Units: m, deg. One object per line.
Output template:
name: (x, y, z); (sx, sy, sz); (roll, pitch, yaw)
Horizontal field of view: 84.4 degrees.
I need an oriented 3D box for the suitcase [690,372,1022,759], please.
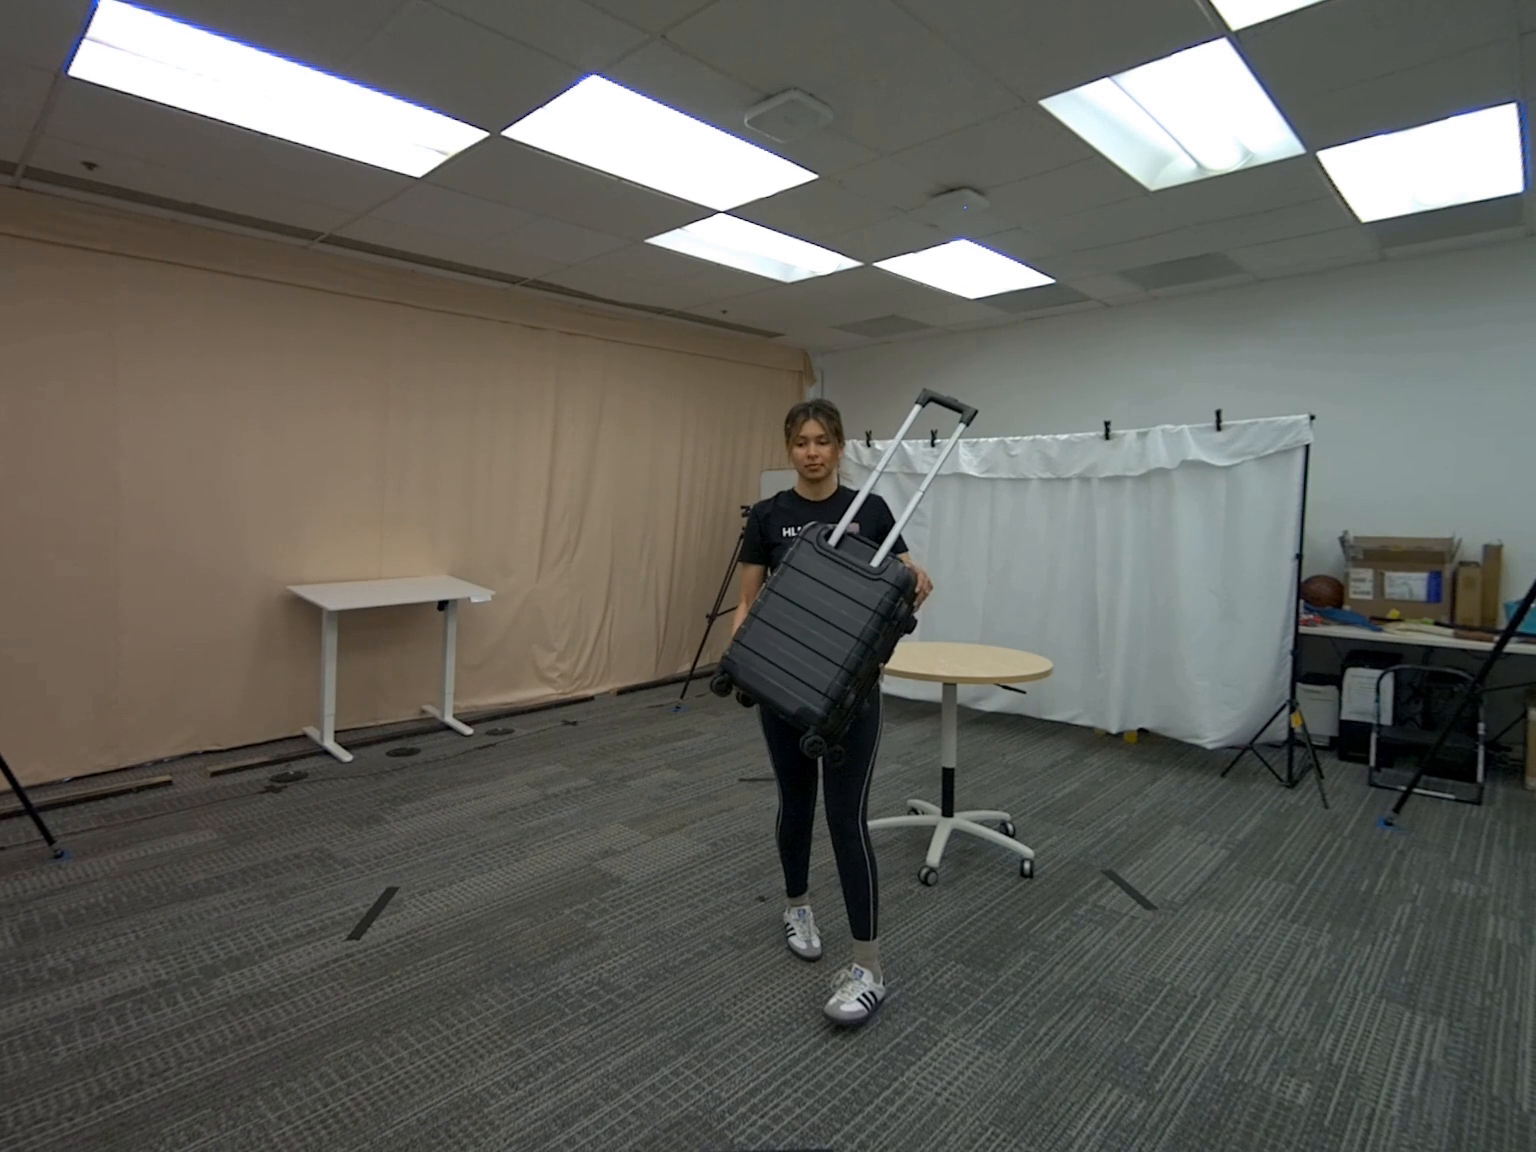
suitcase: (0.247, -0.018, 2.255); (0.396, 0.978, 0.249); (28, -8, 29)
